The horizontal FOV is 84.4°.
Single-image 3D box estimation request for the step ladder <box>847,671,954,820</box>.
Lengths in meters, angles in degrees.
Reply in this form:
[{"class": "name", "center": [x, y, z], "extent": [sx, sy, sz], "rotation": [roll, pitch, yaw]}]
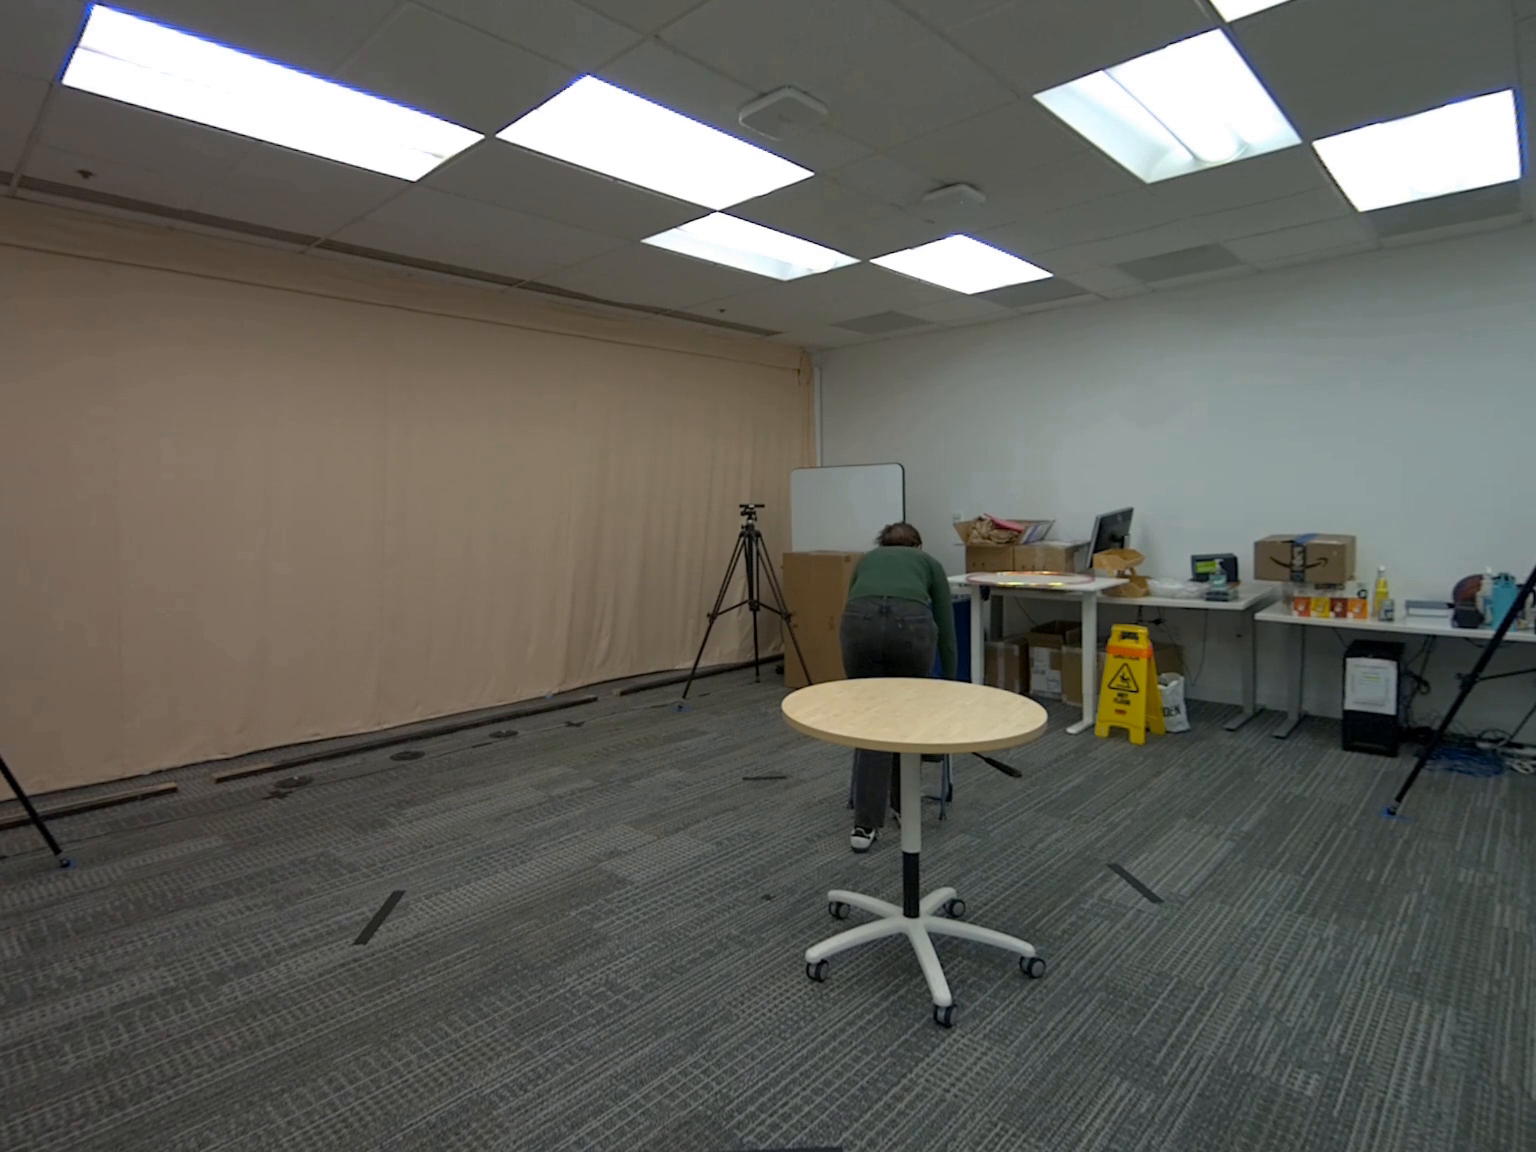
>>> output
[{"class": "step ladder", "center": [0.616, 0.725, 3.811], "extent": [0.440, 0.606, 0.342], "rotation": [1, -1, 20]}]
